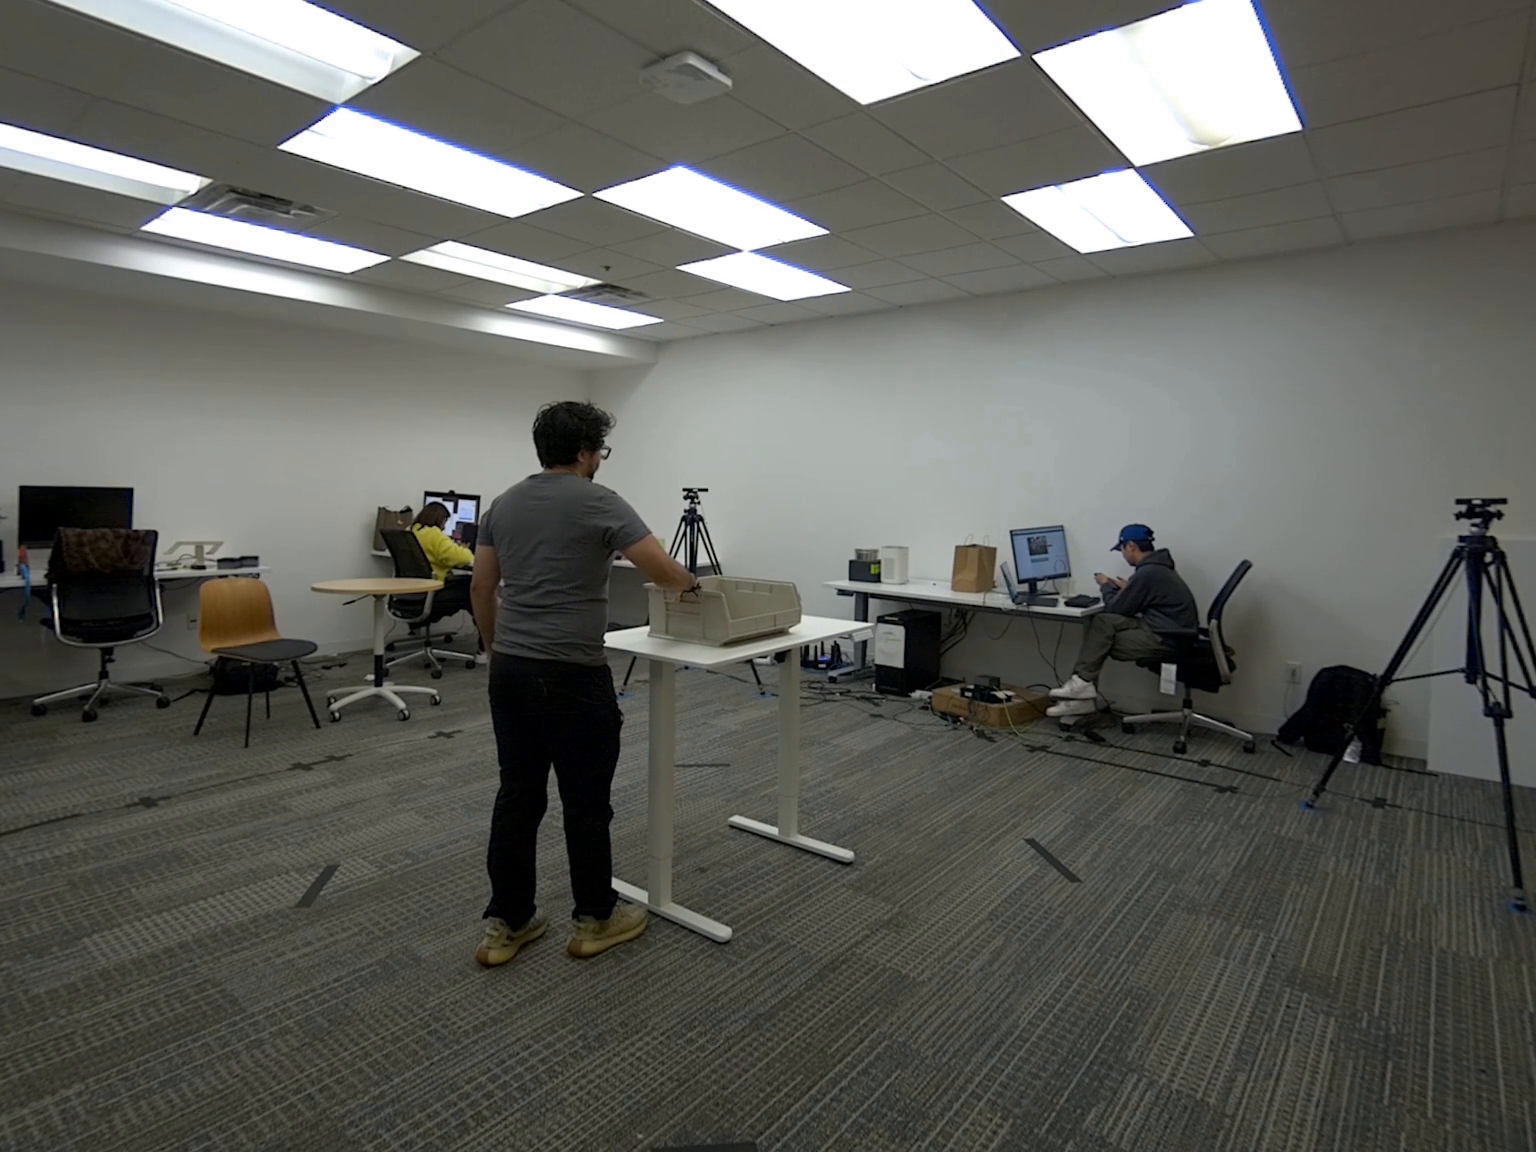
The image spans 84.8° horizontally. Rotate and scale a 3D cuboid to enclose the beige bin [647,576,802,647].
[{"bbox_3d":[-0.158,0.112,2.960,0.389,0.188,0.410,2,6,37],"label":"beige bin"}]
